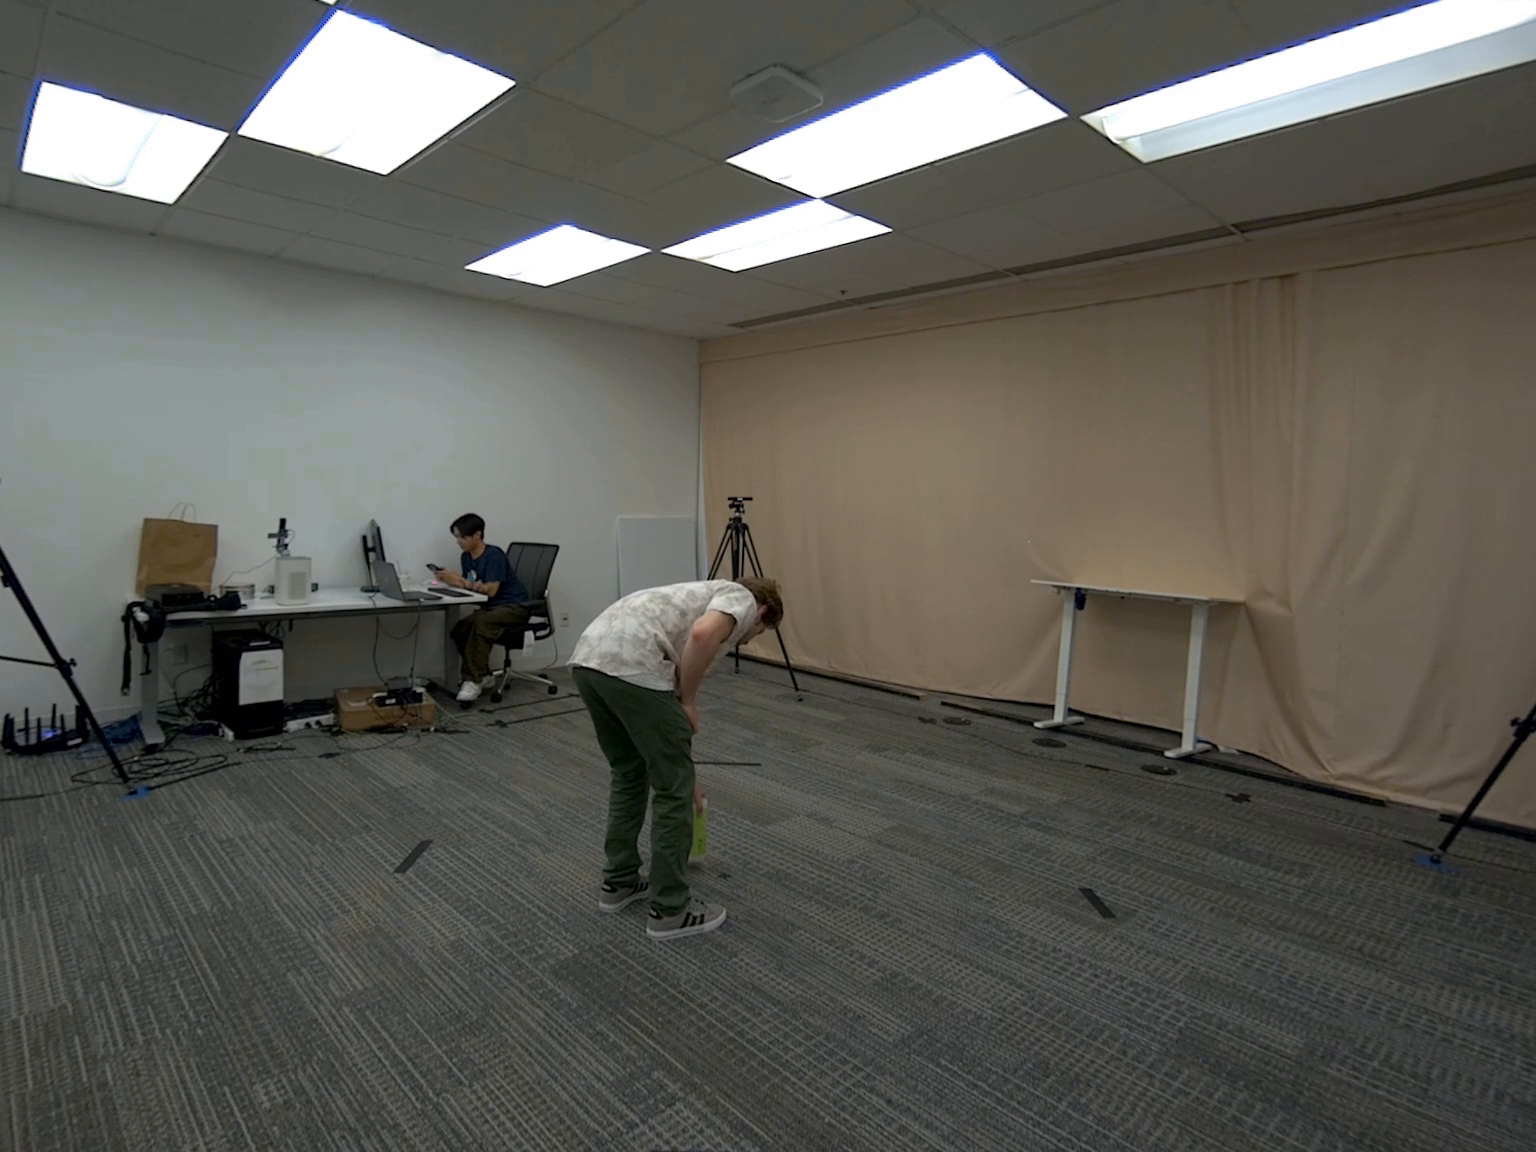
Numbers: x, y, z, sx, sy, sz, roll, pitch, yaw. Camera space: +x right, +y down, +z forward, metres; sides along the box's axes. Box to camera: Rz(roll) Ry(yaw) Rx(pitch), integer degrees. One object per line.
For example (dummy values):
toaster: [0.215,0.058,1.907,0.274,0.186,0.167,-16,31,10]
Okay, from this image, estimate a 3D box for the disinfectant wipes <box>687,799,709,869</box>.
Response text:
disinfectant wipes: [-0.286,0.957,3.154,0.118,0.217,0.118,1,1,-1]
